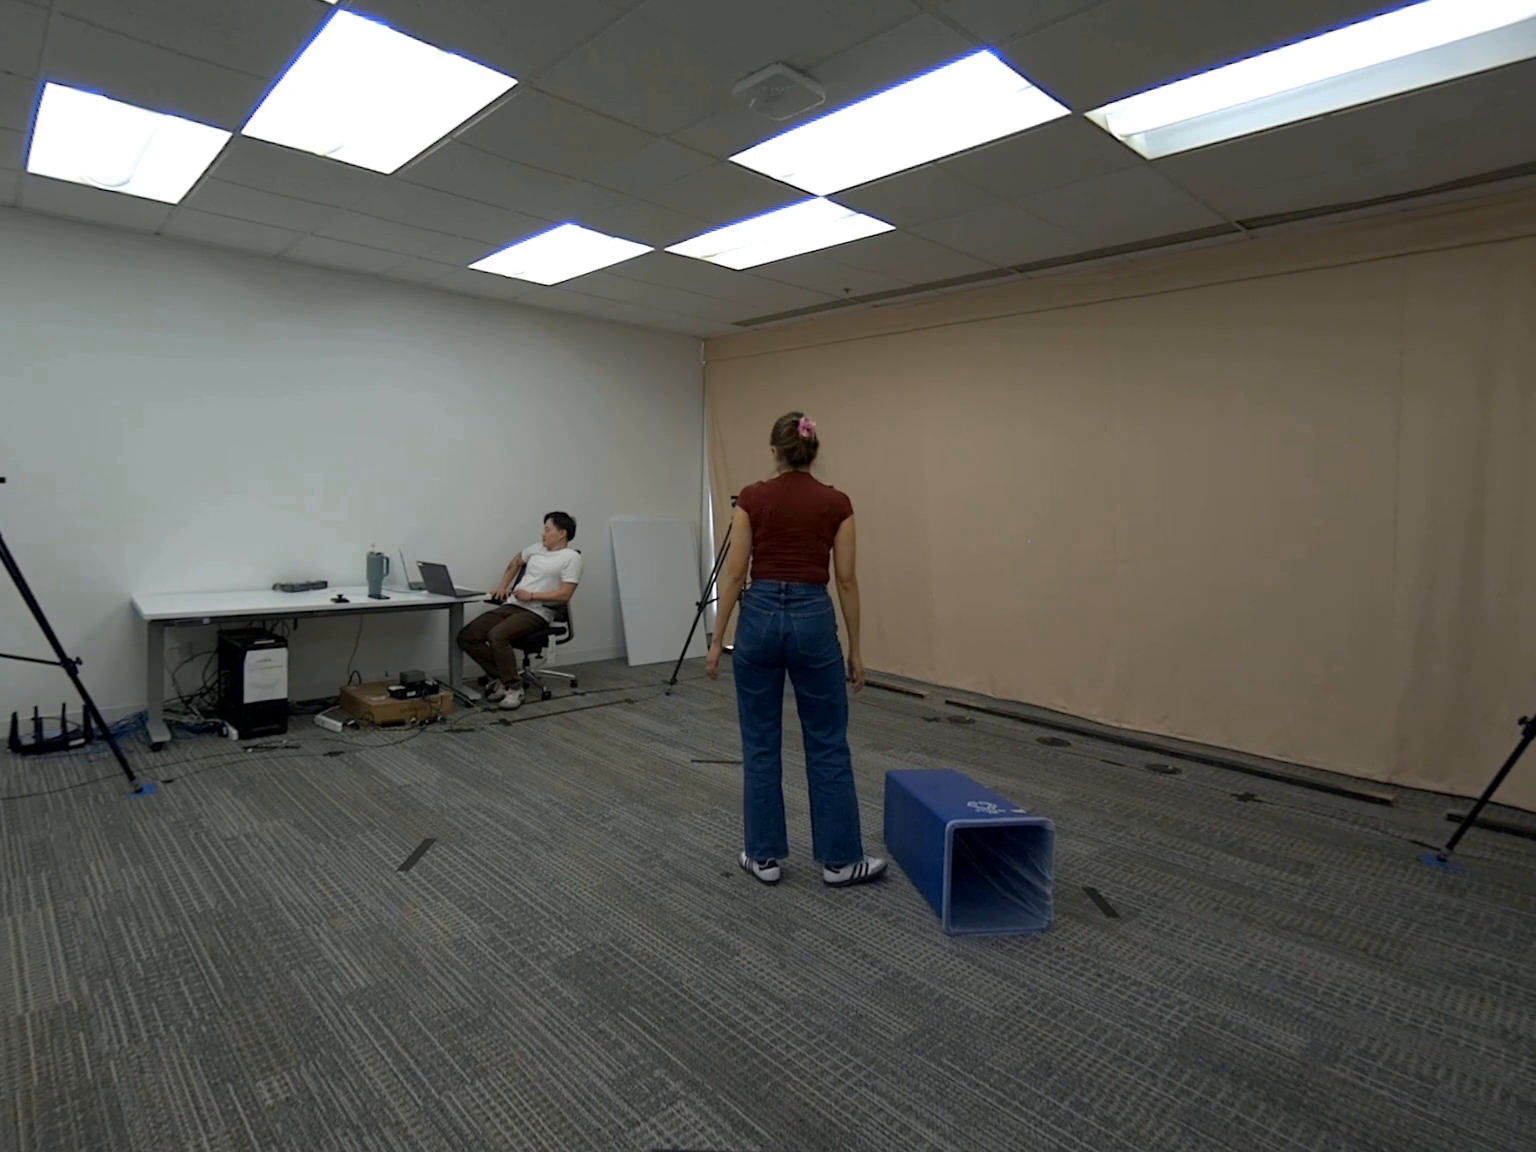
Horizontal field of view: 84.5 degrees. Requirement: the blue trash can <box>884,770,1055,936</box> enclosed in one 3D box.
[{"bbox_3d":[0.672,0.957,3.065,0.371,0.378,0.720,1,2,-11],"label":"blue trash can"}]
